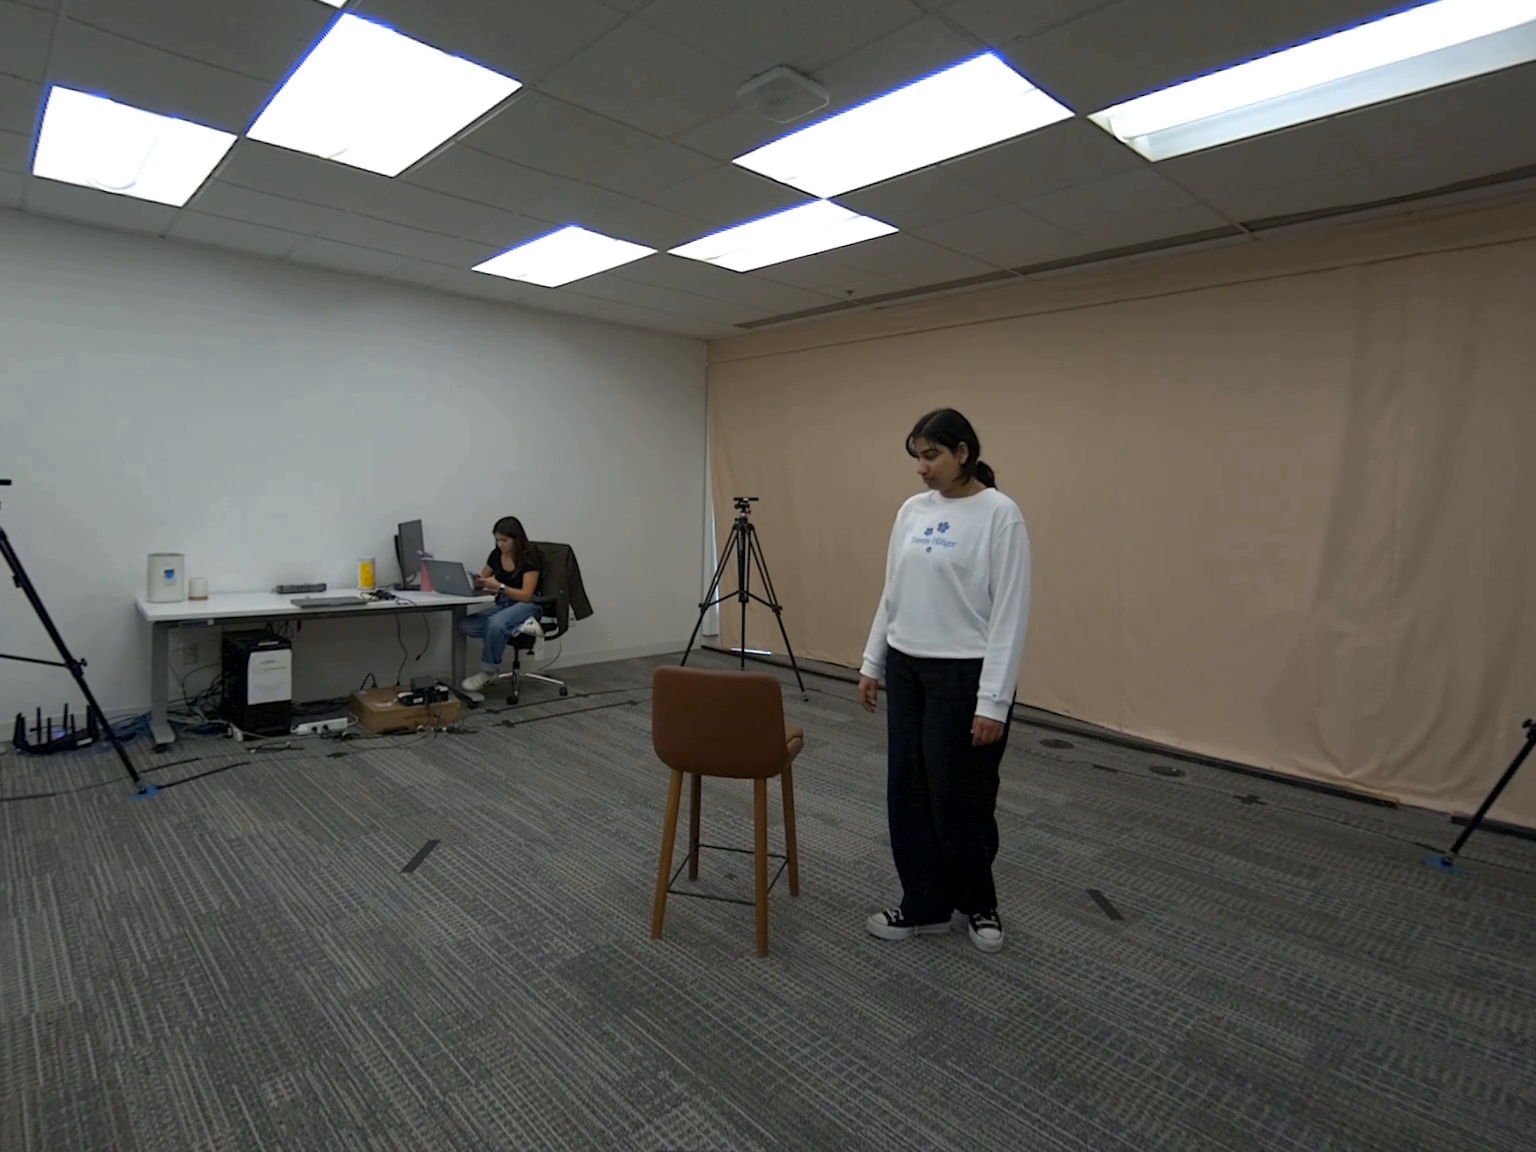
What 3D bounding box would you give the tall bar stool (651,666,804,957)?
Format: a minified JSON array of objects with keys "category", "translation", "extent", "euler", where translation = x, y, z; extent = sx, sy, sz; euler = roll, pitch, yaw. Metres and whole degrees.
[{"category":"tall bar stool","translation":[-0.130,0.704,2.794],"extent":[0.462,0.886,0.463],"euler":[2,5,15]}]
